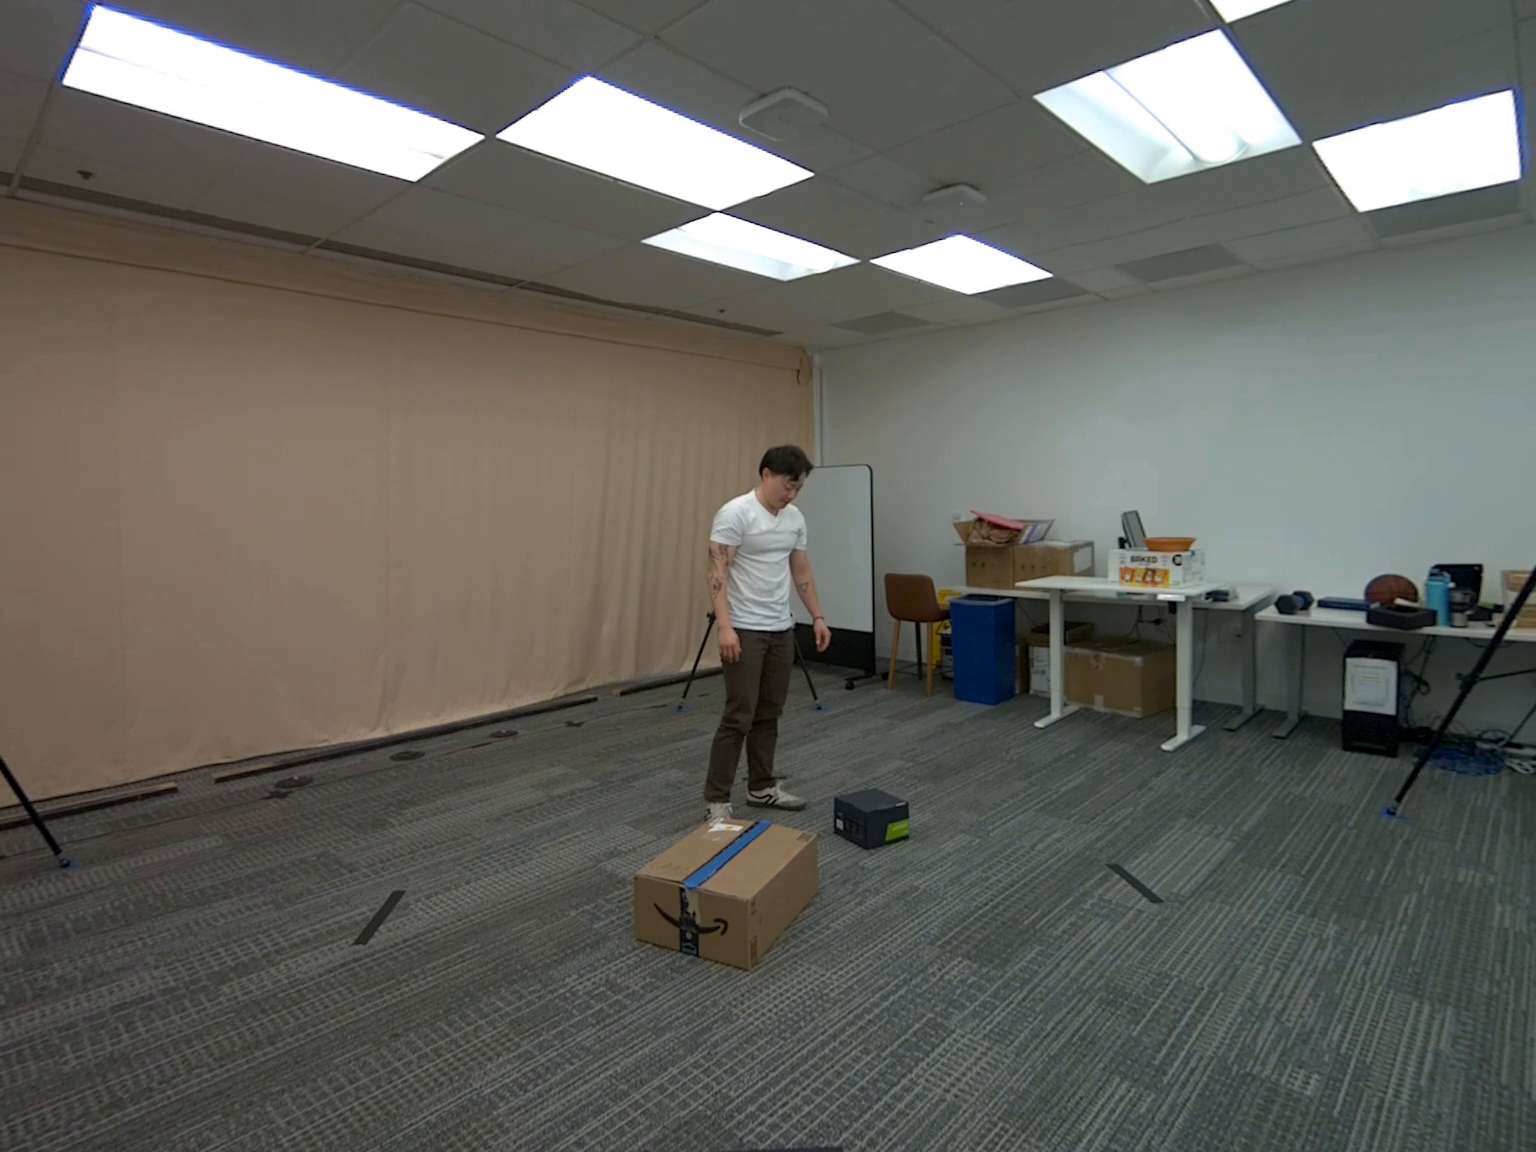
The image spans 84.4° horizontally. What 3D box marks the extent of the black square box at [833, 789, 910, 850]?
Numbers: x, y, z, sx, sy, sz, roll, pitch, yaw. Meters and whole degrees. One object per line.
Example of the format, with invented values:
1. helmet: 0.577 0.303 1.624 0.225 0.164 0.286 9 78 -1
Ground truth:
1. black square box: 0.434 1.003 3.510 0.222 0.155 0.223 -3 4 -31
